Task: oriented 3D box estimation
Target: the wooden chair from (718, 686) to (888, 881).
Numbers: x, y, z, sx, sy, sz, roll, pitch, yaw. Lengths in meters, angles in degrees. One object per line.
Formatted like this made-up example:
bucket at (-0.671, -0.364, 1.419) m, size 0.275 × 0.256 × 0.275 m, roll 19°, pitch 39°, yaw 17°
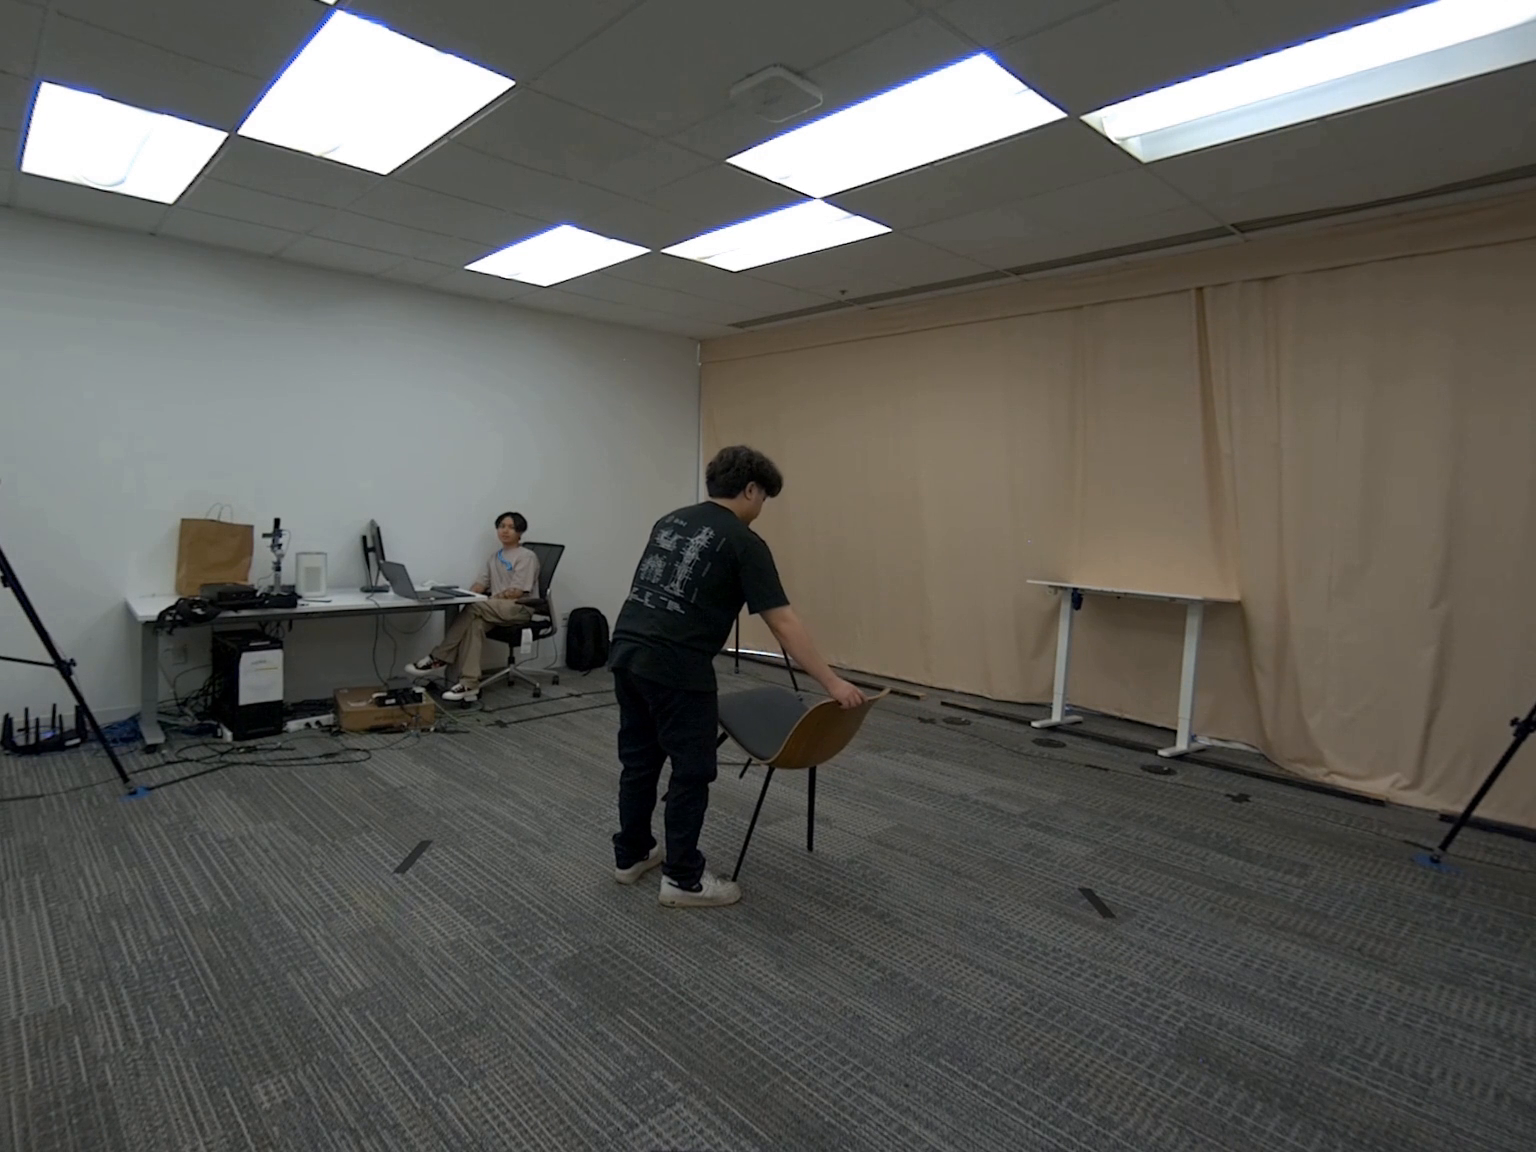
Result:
wooden chair at (0.018, 0.618, 3.182) m, size 0.467 × 0.870 × 0.539 m, roll -3°, pitch 38°, yaw -45°
